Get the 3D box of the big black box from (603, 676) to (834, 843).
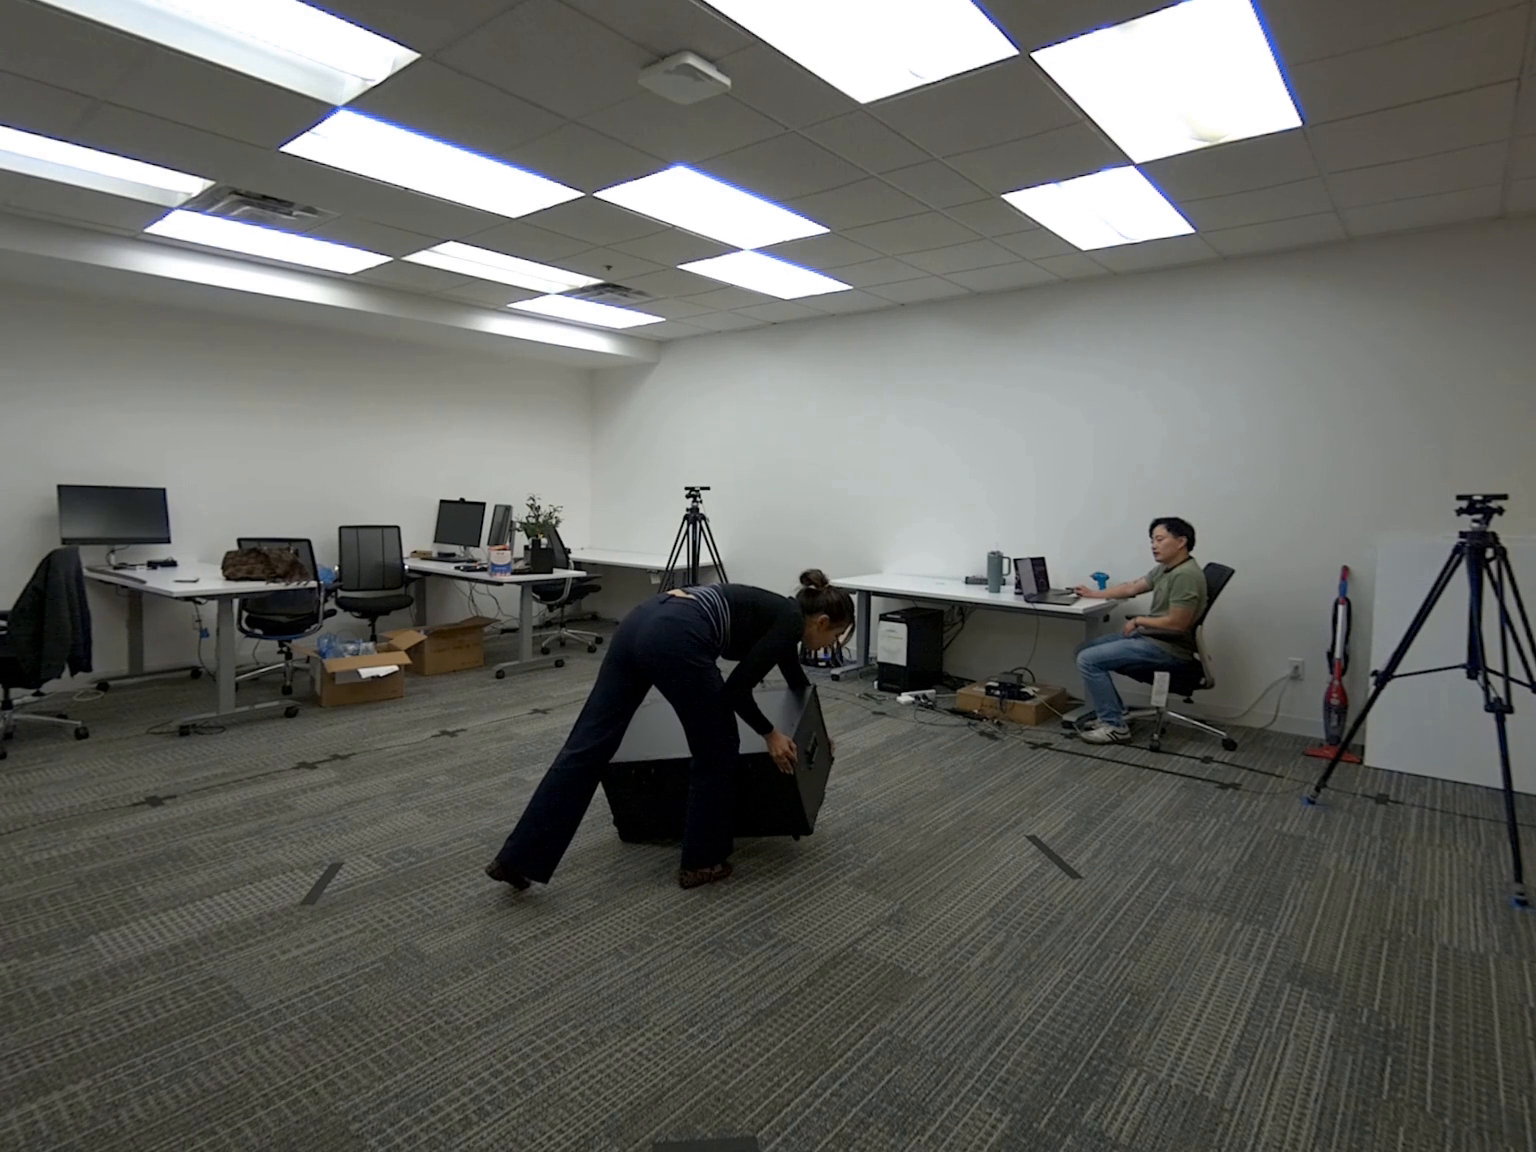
[{"bbox_3d":[-0.234,0.749,3.378,0.876,0.388,0.523,-8,20,19],"label":"big black box"}]
